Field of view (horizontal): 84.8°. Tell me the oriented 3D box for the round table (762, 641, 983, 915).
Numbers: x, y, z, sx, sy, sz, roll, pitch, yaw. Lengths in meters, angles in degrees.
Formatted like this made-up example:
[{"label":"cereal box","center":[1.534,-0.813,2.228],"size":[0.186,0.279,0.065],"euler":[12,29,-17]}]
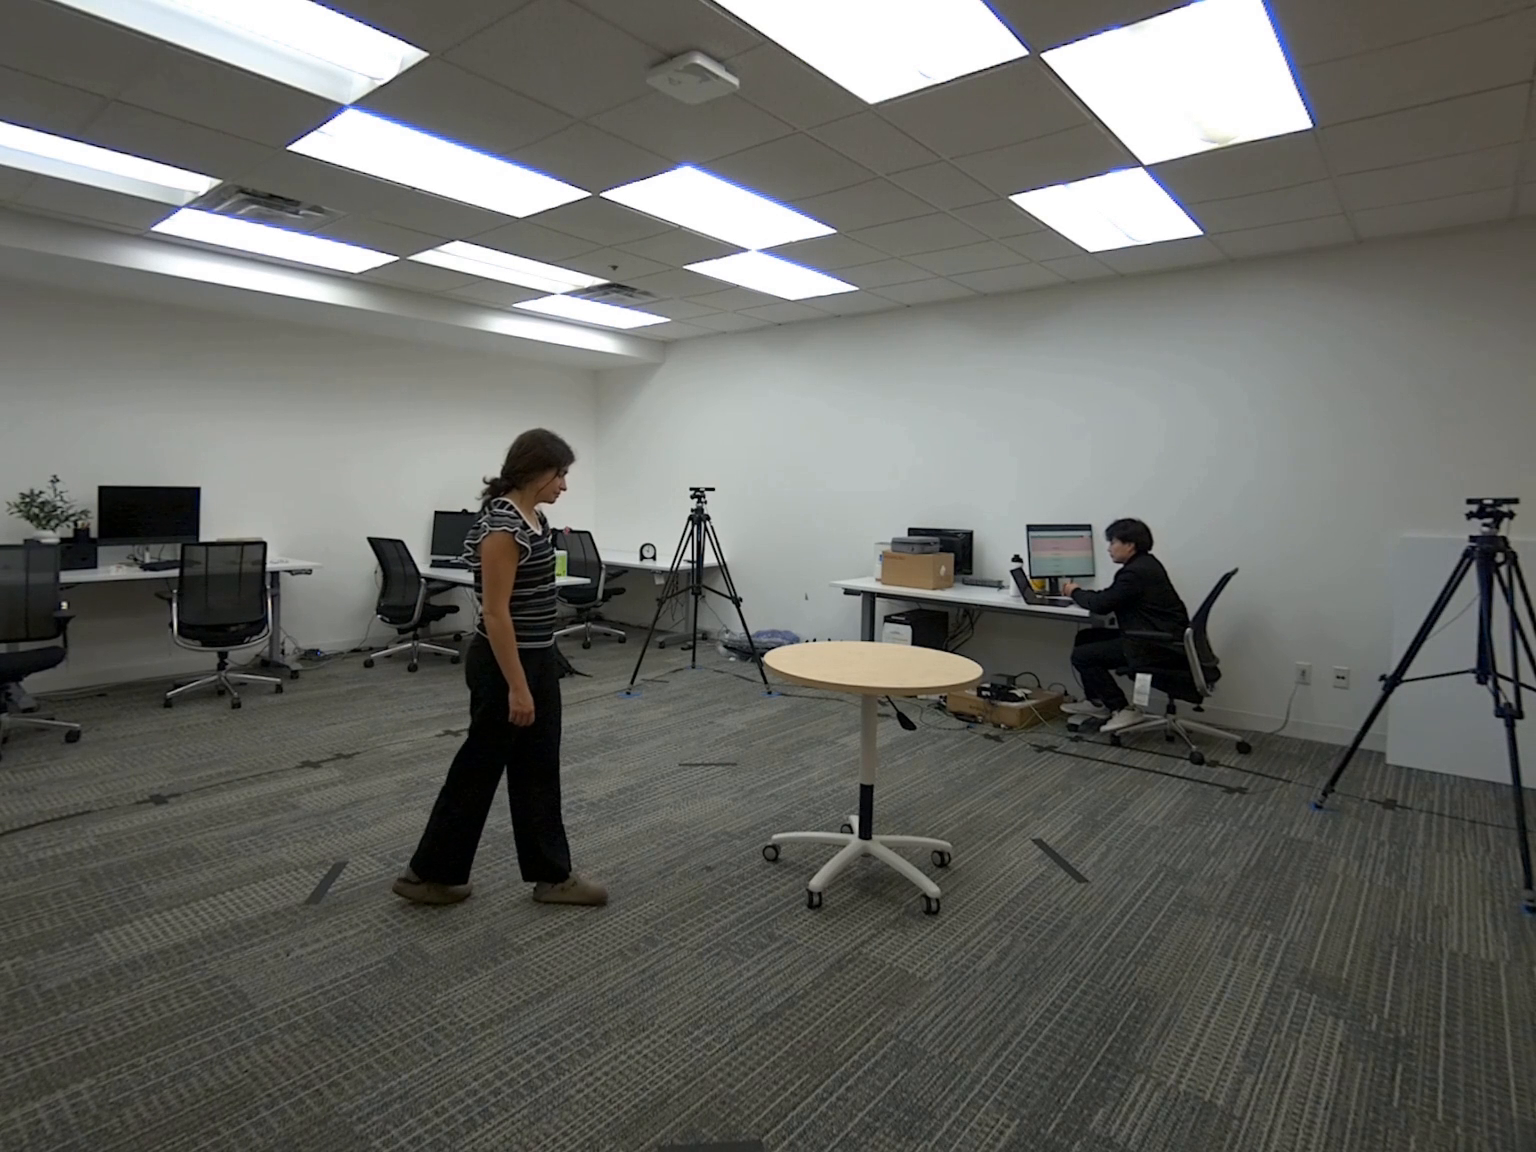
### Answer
[{"label":"round table","center":[0.351,0.695,3.046],"size":[0.784,0.784,0.789],"euler":[1,4,-2]}]
